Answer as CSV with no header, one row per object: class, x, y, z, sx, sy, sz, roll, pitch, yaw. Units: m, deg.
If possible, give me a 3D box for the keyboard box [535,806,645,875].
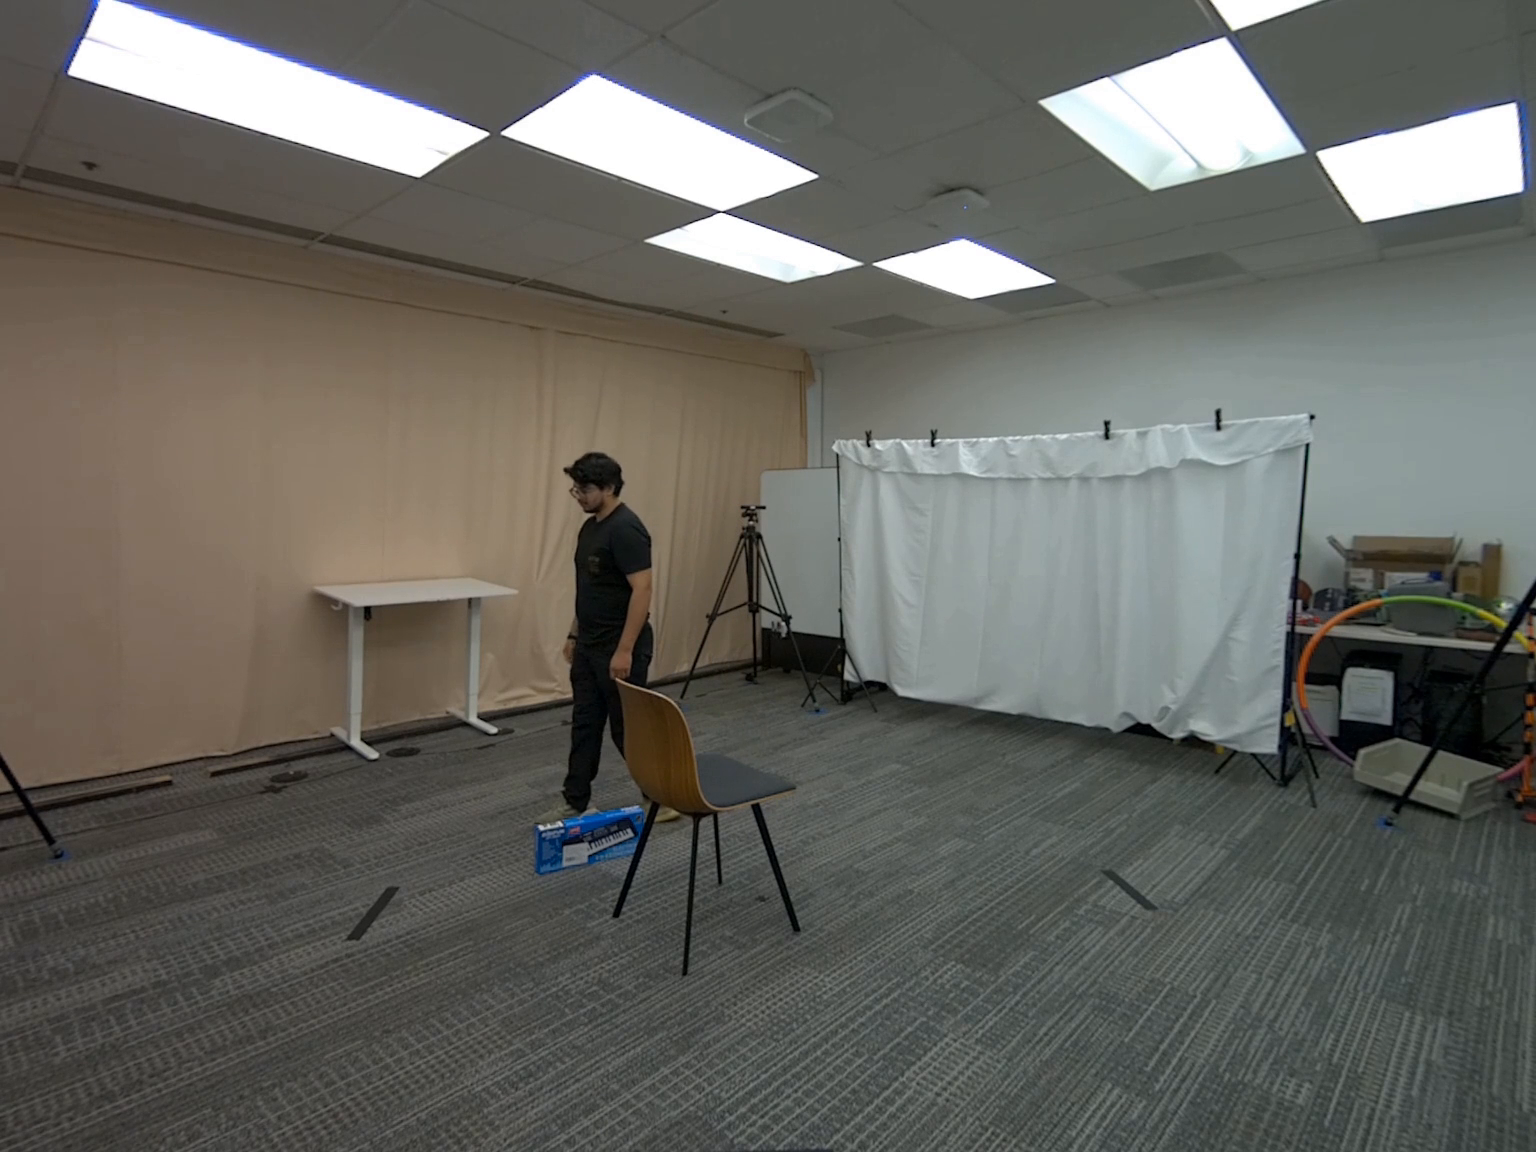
keyboard box,-0.705,1.040,3.312,0.425,0.175,0.061,-3,9,-30
